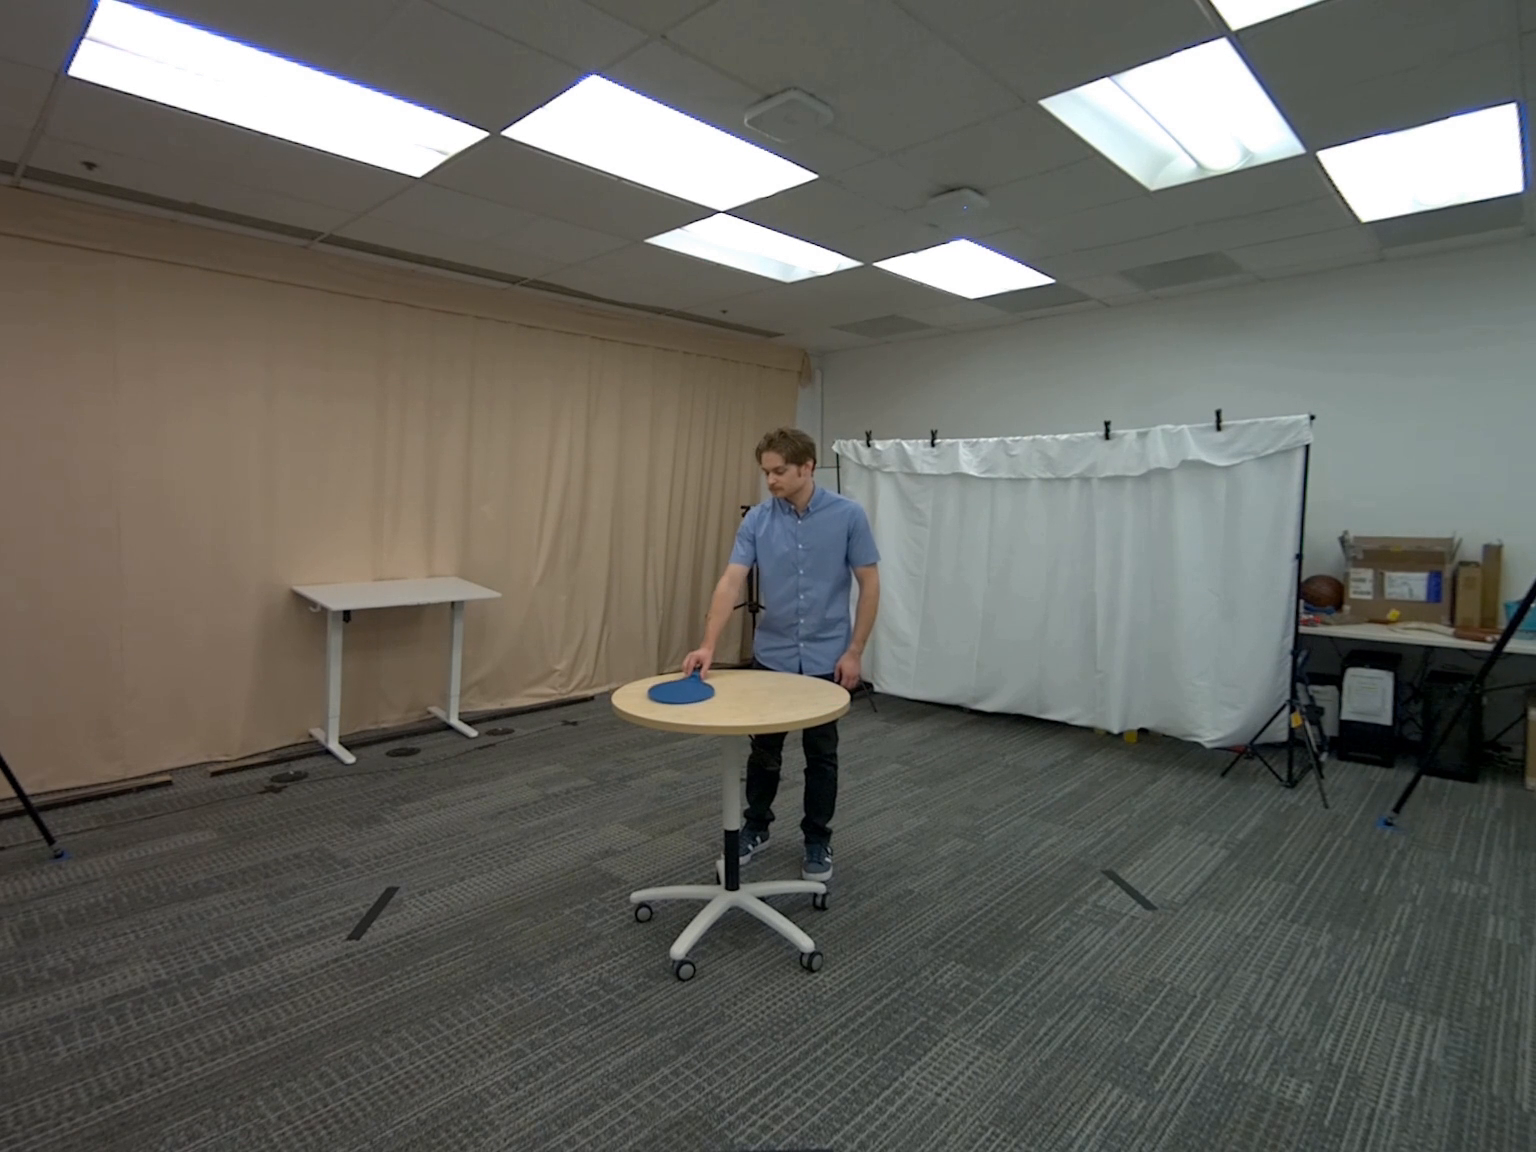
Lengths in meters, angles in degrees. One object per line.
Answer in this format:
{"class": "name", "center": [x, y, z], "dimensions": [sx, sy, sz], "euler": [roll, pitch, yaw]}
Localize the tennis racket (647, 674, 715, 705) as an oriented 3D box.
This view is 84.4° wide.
{"class": "tennis racket", "center": [-0.254, 0.364, 2.802], "dimensions": [0.216, 0.031, 0.430], "euler": [2, 7, 8]}
